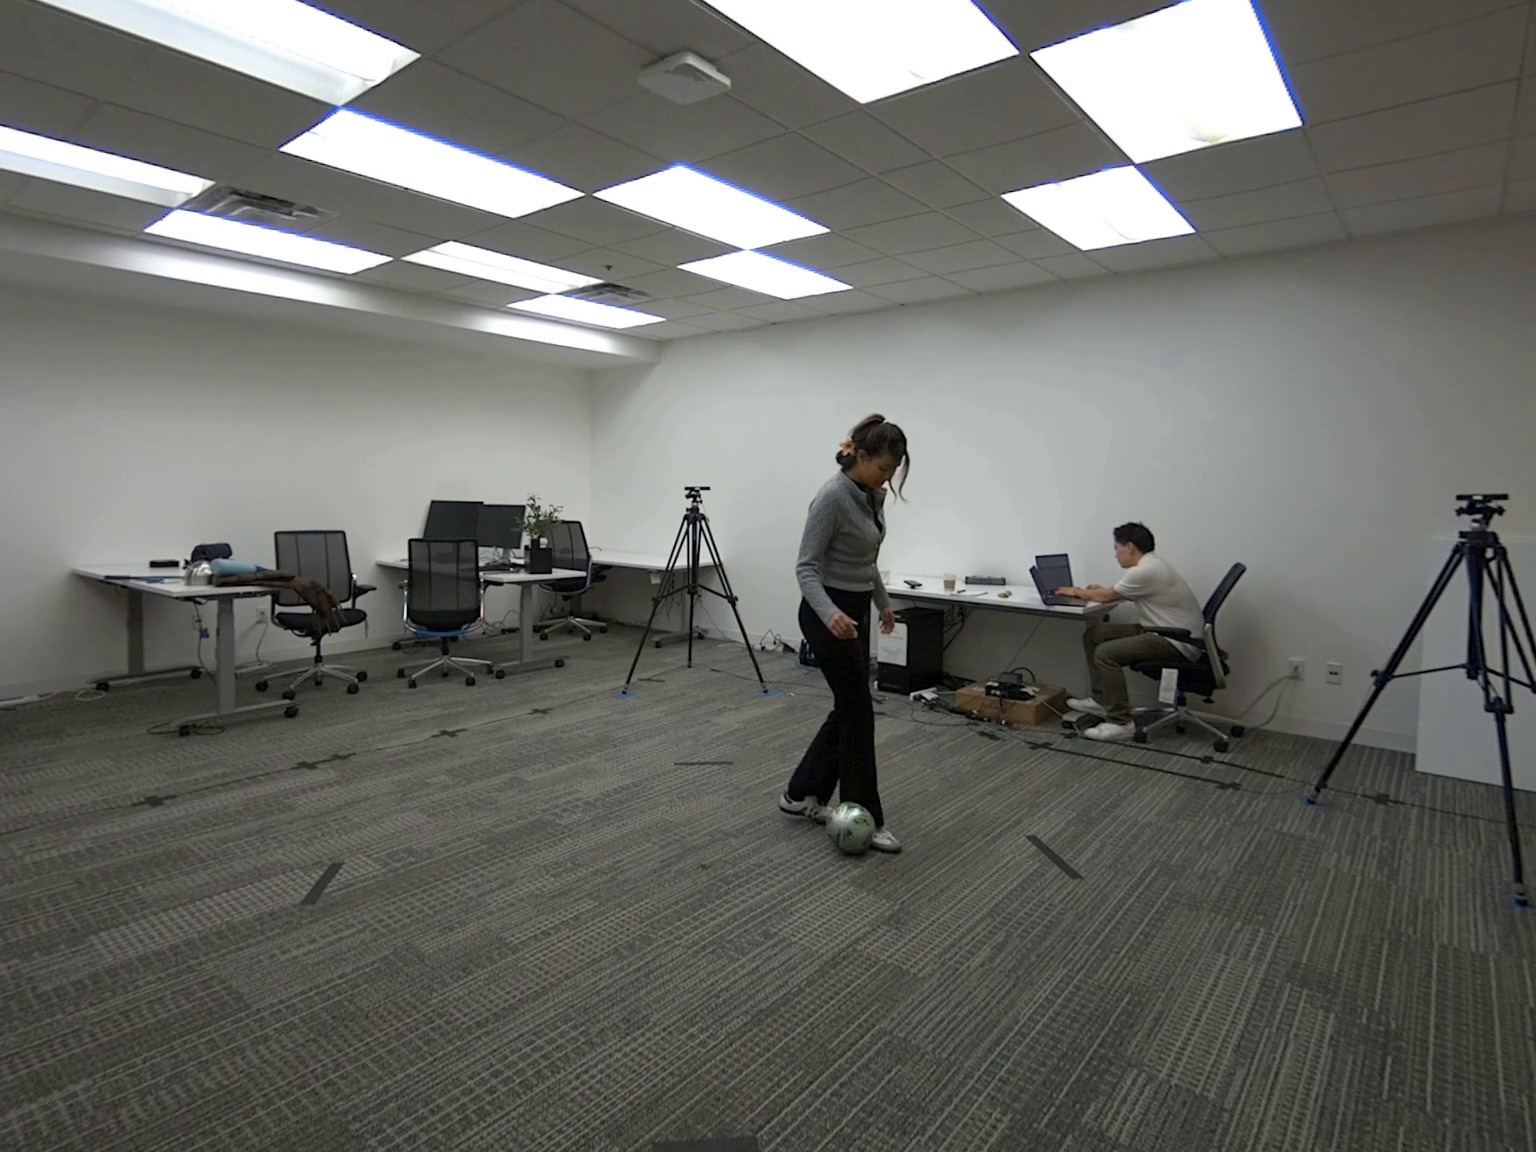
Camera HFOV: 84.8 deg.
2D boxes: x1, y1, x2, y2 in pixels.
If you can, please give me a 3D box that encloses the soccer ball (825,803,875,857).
[{"bbox_3d":[0.303,0.969,3.266,0.187,0.187,0.188,1,4,-2],"label":"soccer ball"}]
